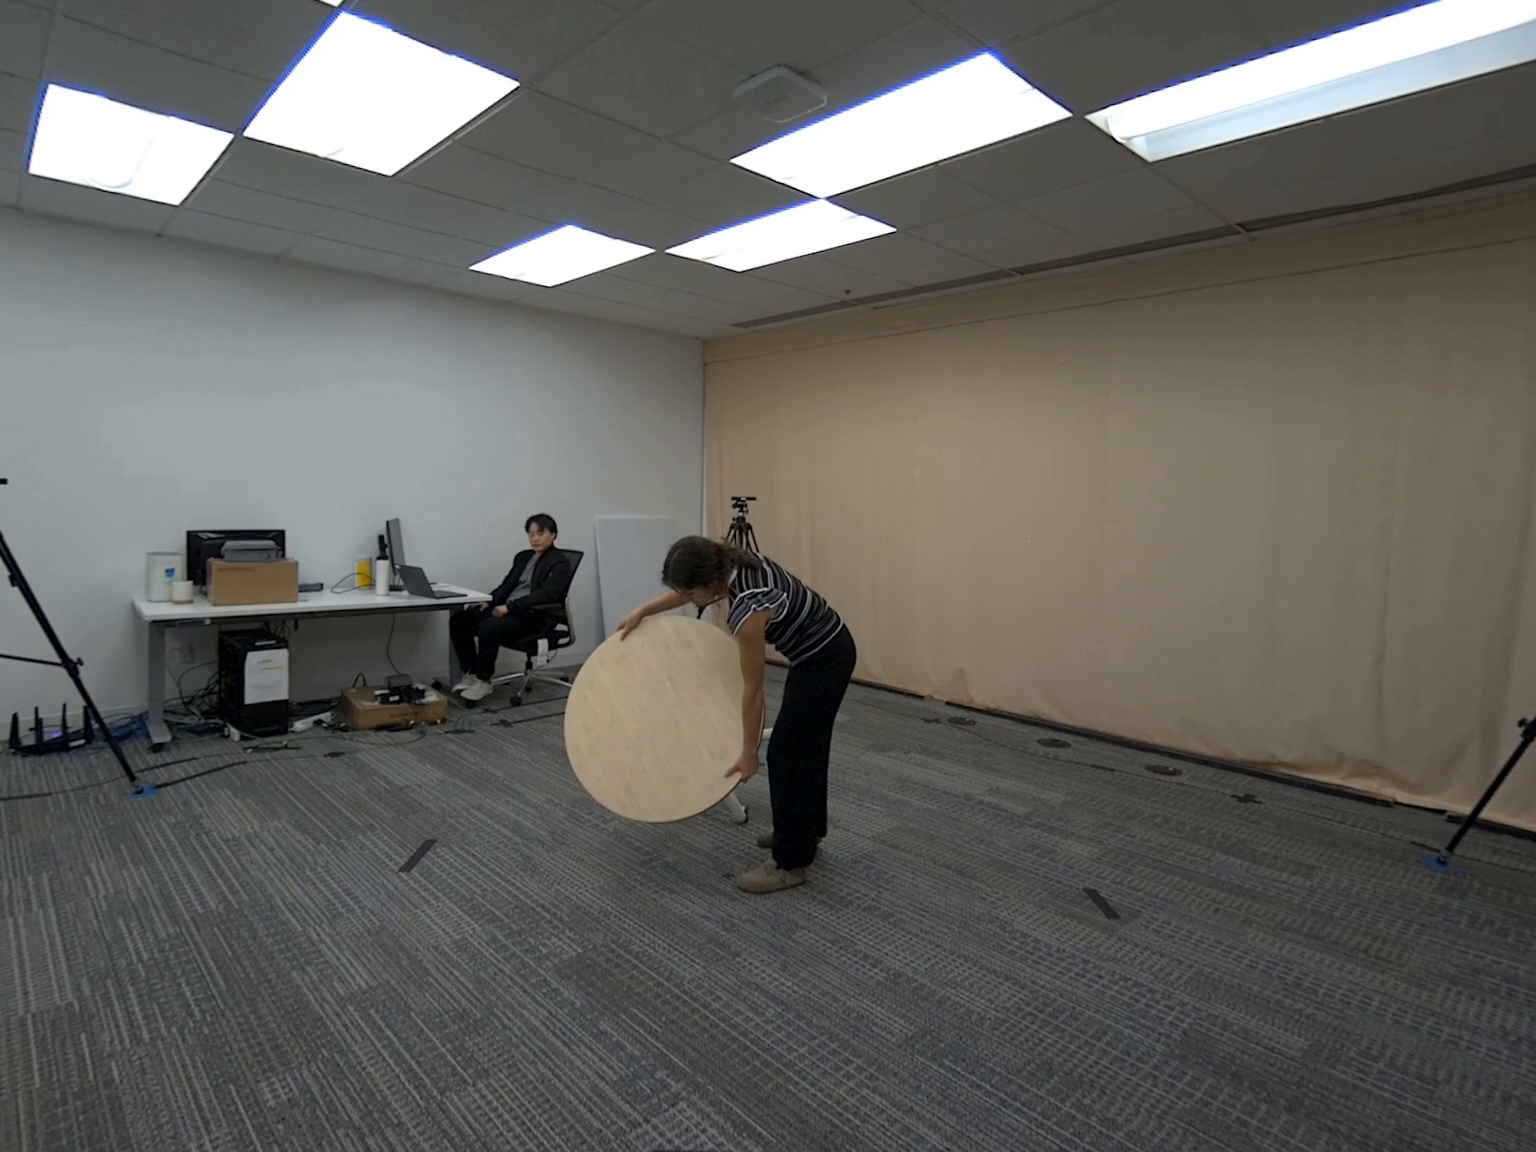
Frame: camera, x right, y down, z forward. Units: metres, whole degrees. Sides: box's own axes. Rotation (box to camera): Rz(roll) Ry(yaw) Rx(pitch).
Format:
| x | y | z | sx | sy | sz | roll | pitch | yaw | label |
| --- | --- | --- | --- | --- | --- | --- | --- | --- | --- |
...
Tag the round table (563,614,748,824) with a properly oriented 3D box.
| x | y | z | sx | sy | sz | roll | pitch | yaw | label |
| --- | --- | --- | --- | --- | --- | --- | --- | --- | --- |
| -0.343 | 0.656 | 3.474 | 0.772 | 0.774 | 0.775 | 2 | -23 | 12 | round table |
